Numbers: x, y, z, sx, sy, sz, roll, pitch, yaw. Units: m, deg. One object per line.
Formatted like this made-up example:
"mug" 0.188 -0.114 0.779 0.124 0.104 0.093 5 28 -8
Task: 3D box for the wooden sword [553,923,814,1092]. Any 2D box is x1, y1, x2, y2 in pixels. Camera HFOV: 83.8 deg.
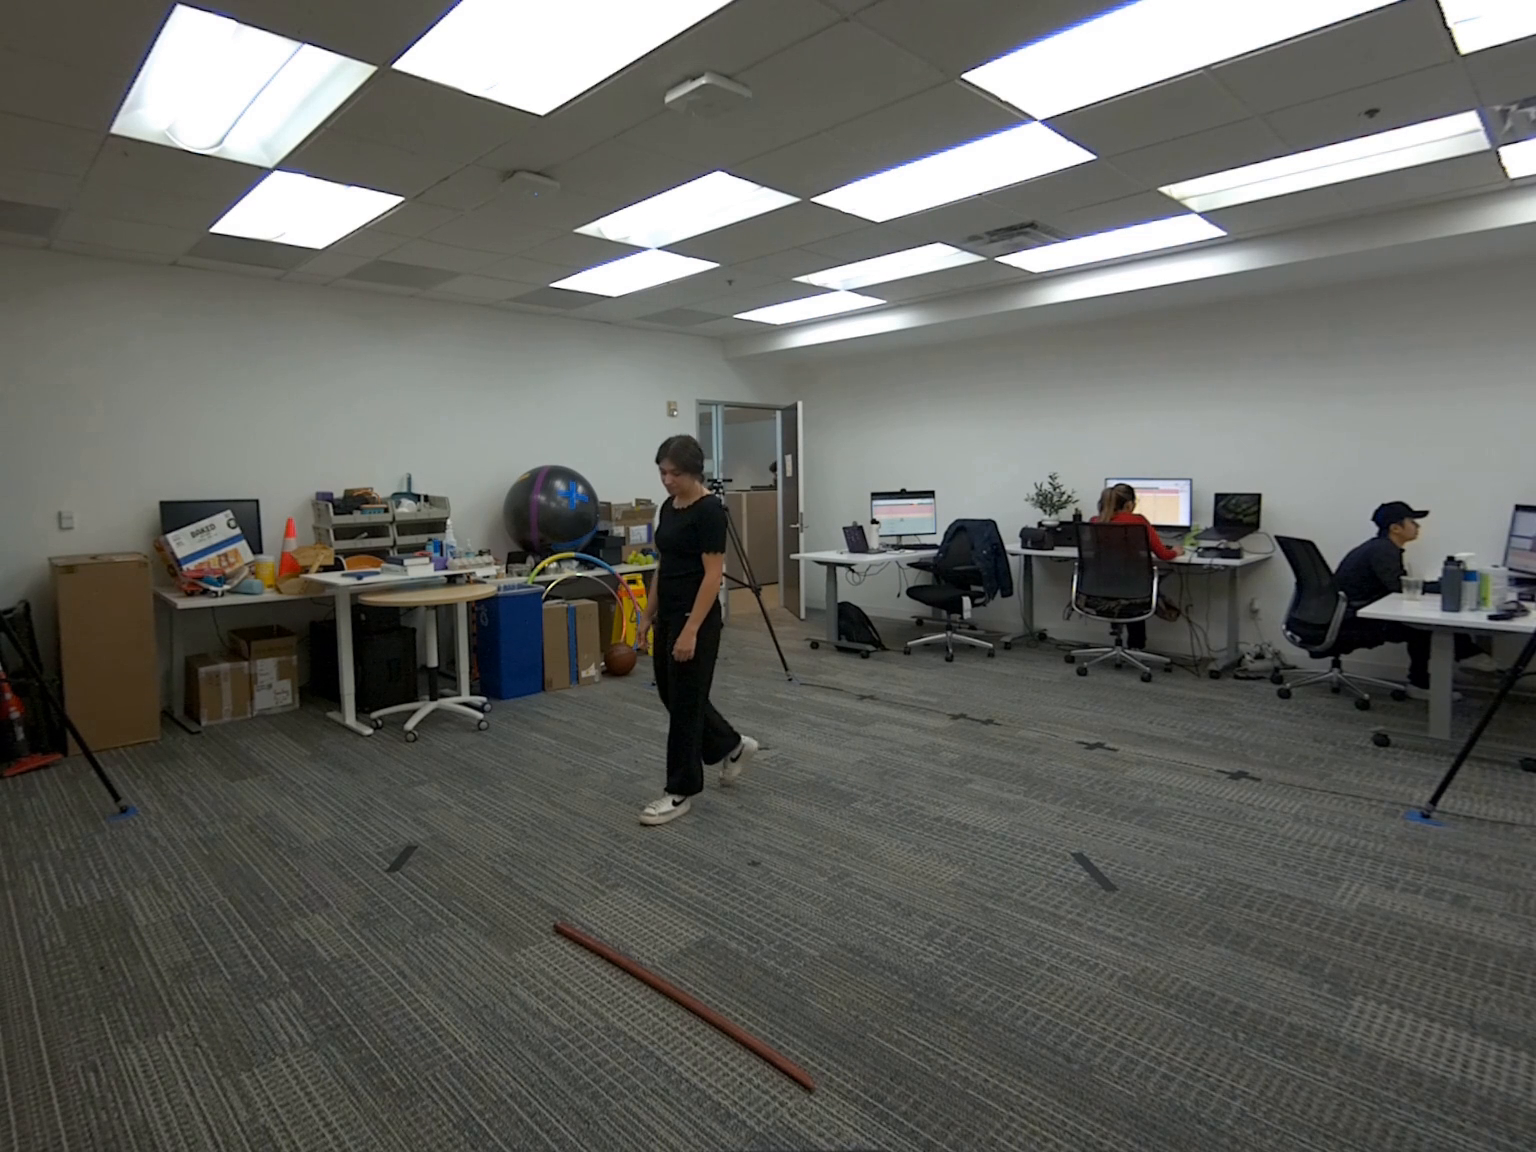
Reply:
"wooden sword" -0.257 1.119 2.327 1.057 0.024 0.049 5 -2 43
